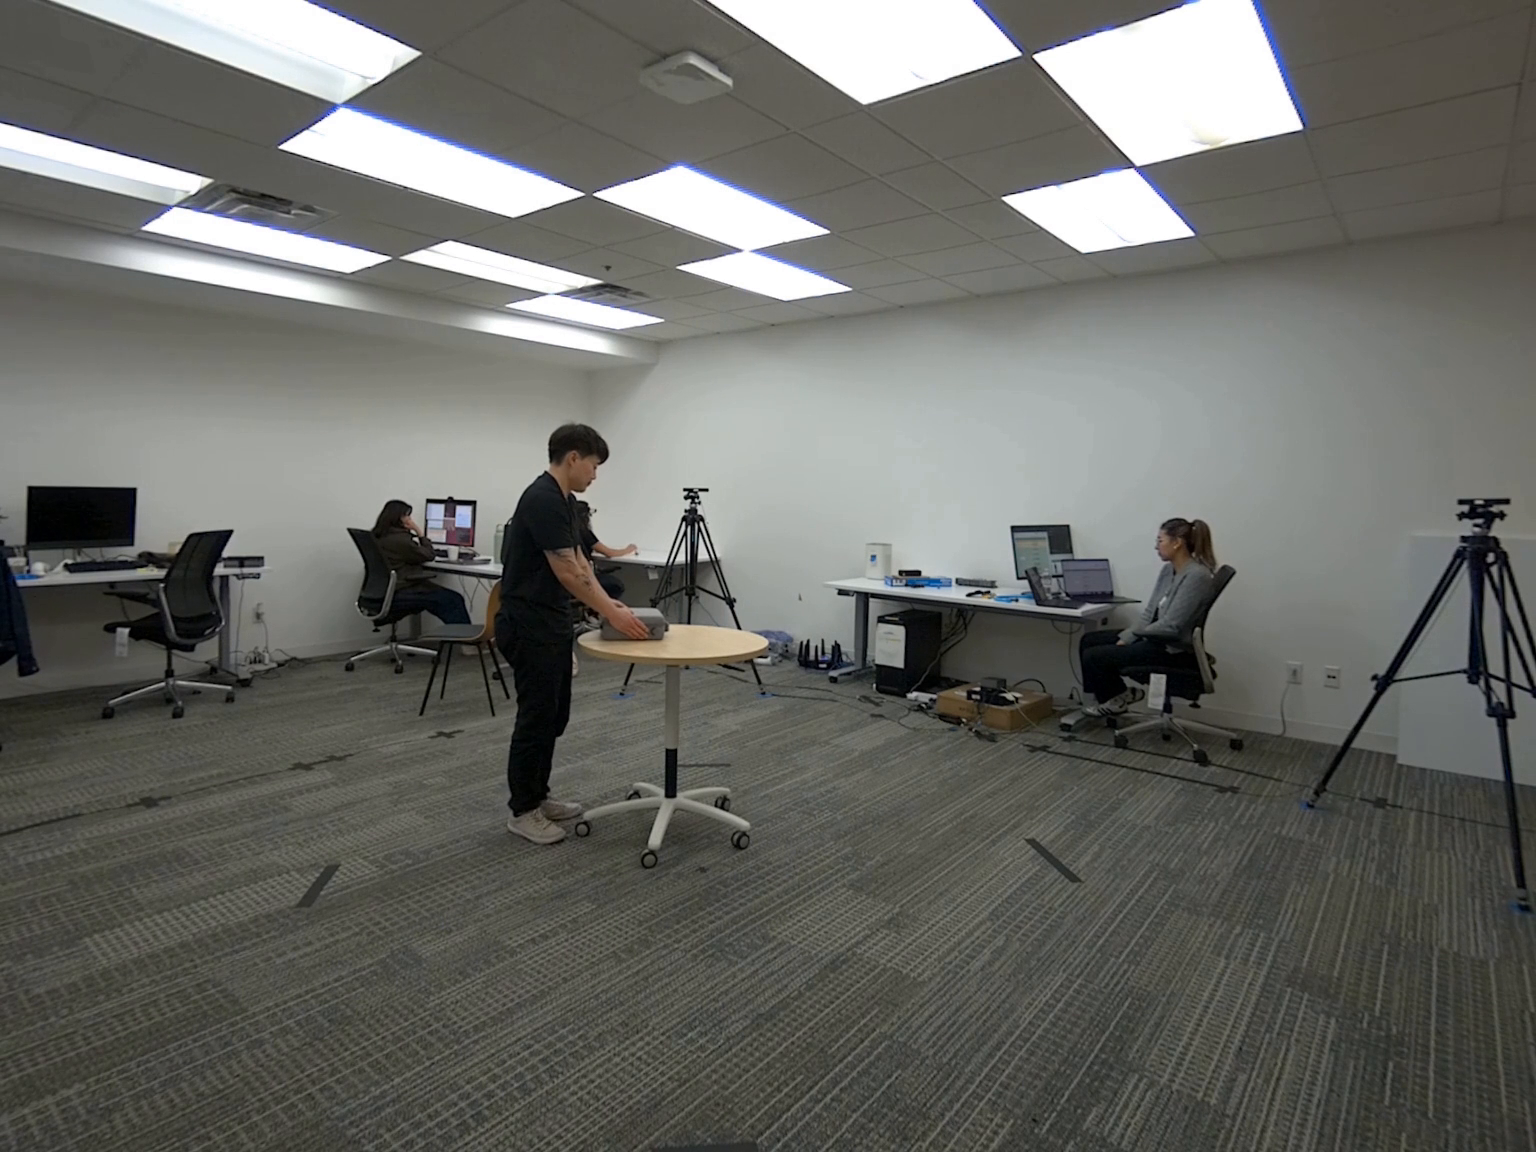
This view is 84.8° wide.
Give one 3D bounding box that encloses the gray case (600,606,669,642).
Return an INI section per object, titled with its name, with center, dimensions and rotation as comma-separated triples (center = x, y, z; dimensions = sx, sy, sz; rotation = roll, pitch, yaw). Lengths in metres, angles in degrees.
[gray case]
center = -0.557, 0.194, 3.476
dimensions = 0.257, 0.104, 0.261
rotation = -1, 4, -12
